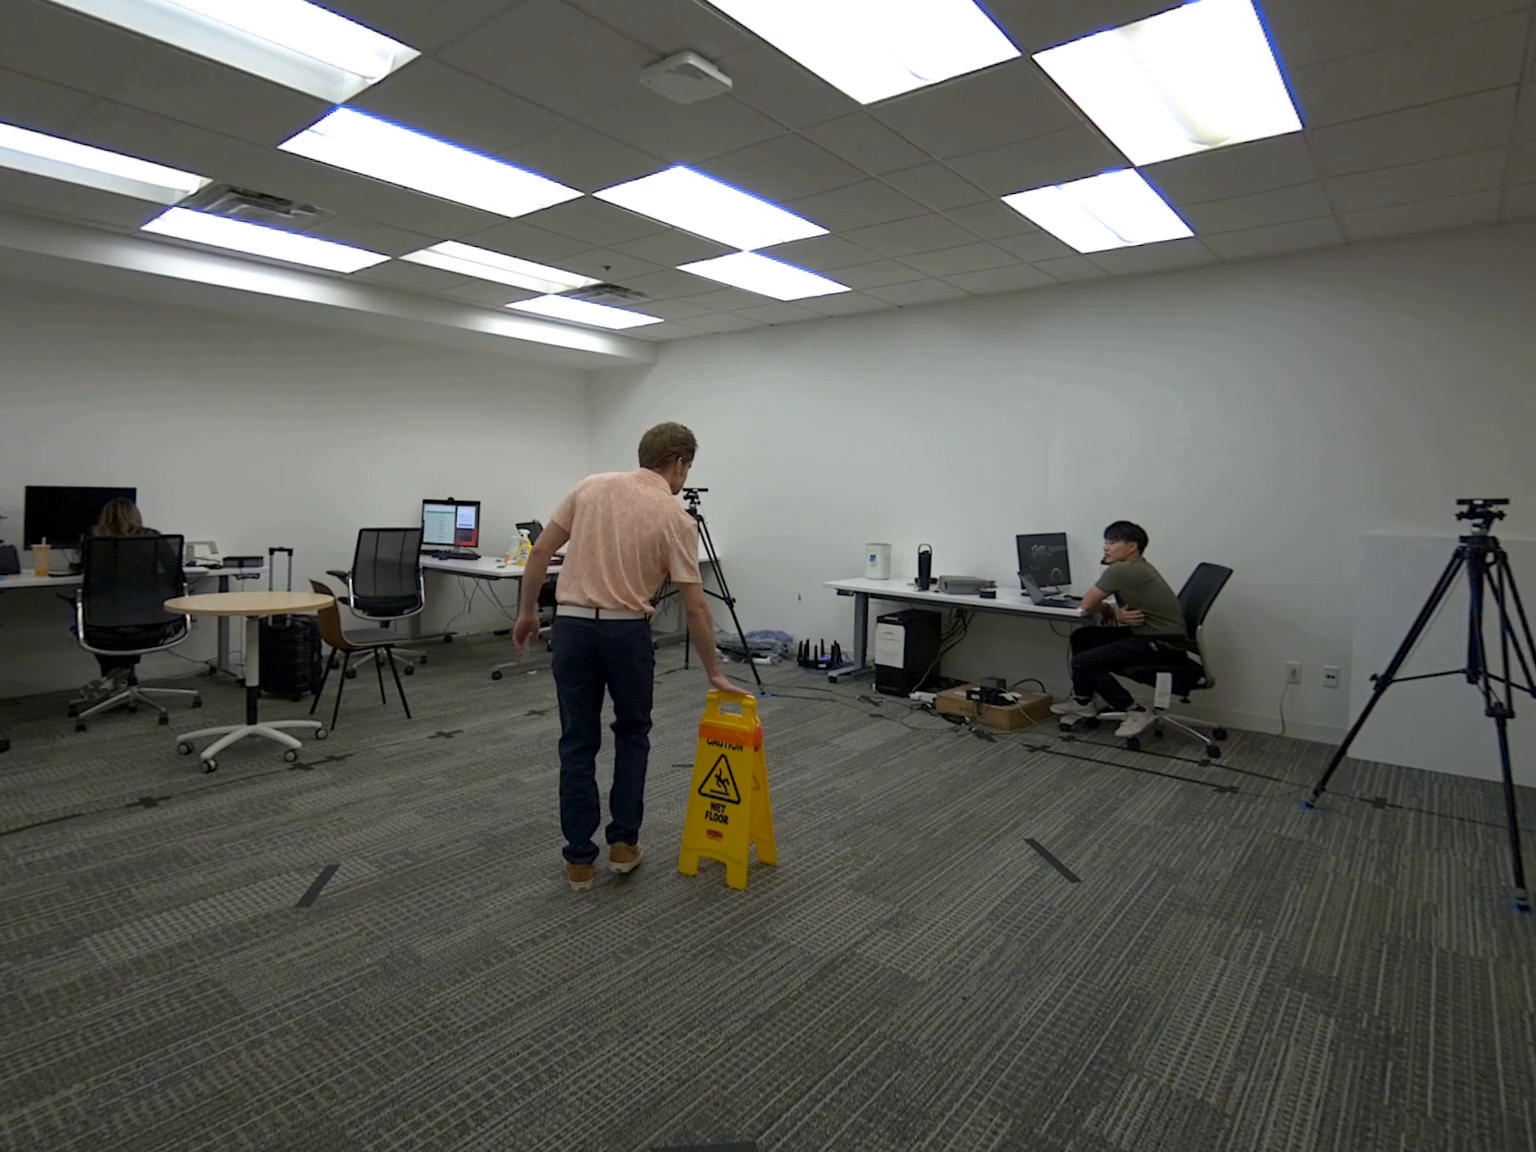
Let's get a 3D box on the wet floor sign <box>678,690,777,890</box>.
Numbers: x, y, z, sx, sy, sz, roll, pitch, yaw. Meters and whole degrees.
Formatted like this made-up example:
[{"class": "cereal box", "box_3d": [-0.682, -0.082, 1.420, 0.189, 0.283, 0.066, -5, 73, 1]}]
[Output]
[{"class": "wet floor sign", "box_3d": [-0.151, 0.753, 3.098, 0.290, 0.644, 0.282, 2, 3, 29]}]
